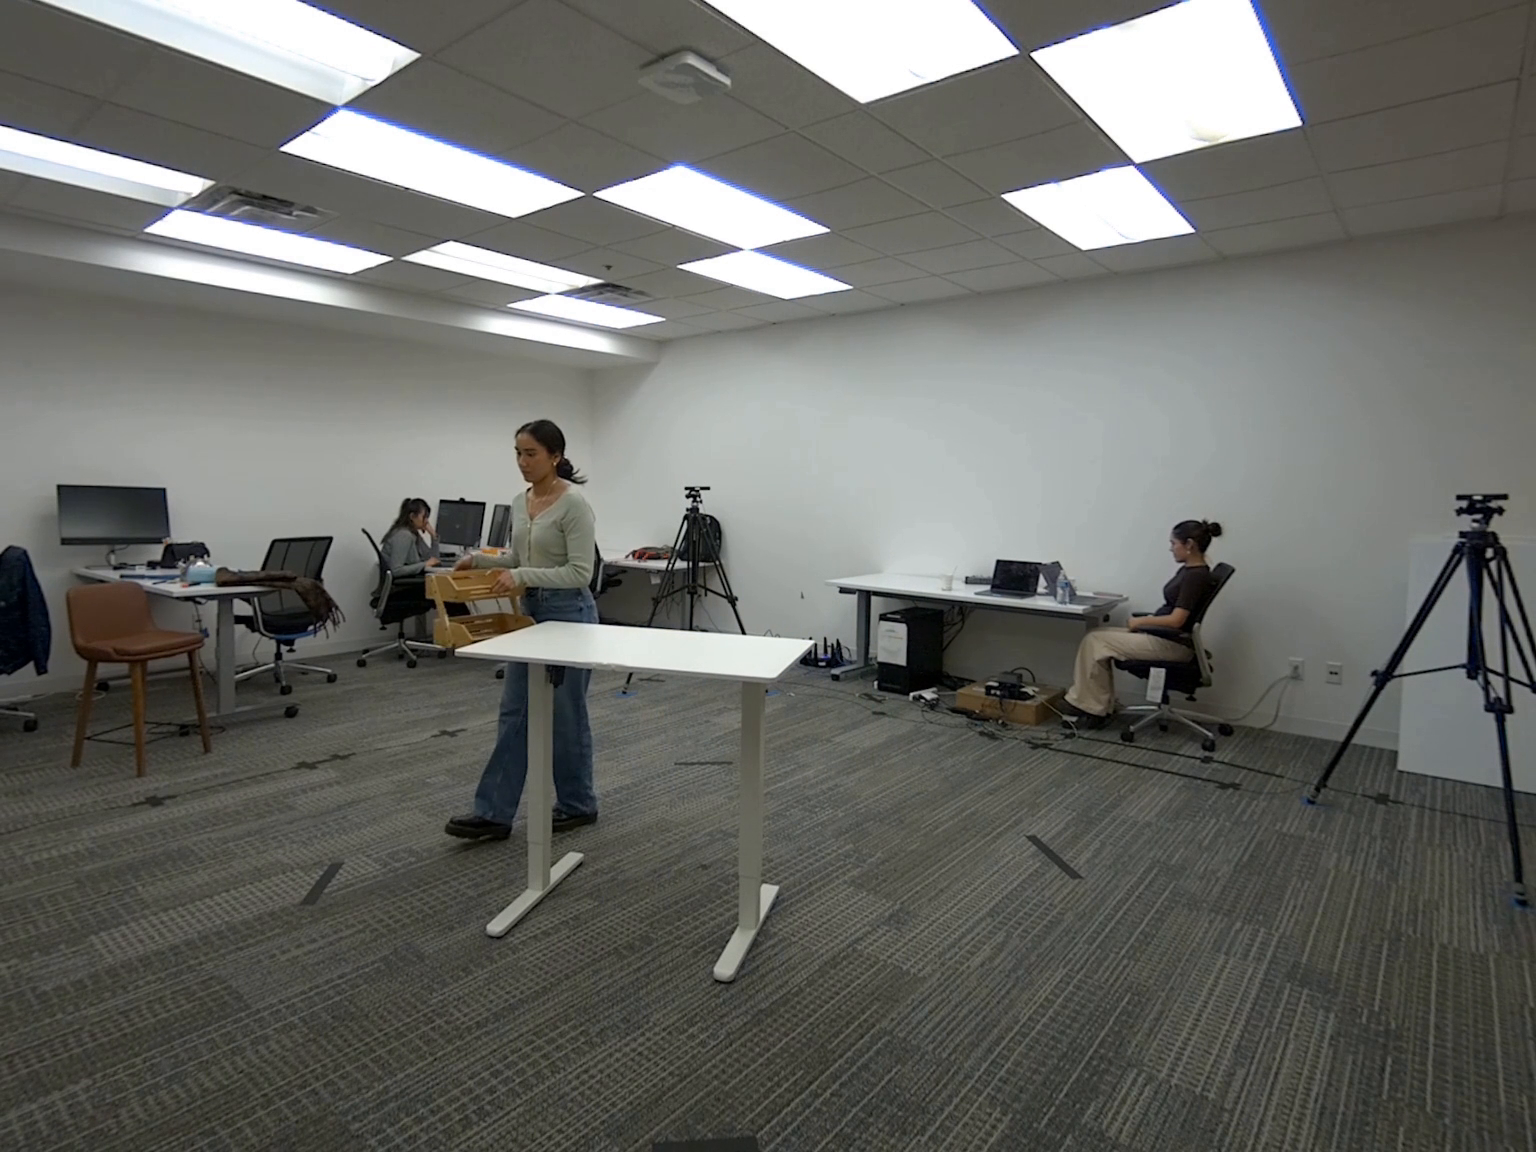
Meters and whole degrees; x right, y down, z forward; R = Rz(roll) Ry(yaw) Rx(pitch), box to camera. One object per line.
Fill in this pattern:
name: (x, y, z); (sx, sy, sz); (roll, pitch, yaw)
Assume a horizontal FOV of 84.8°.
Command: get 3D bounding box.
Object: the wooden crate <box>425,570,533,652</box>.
wooden crate: (-1.084, 0.113, 3.171); (0.312, 0.272, 0.315); (3, 5, 40)
